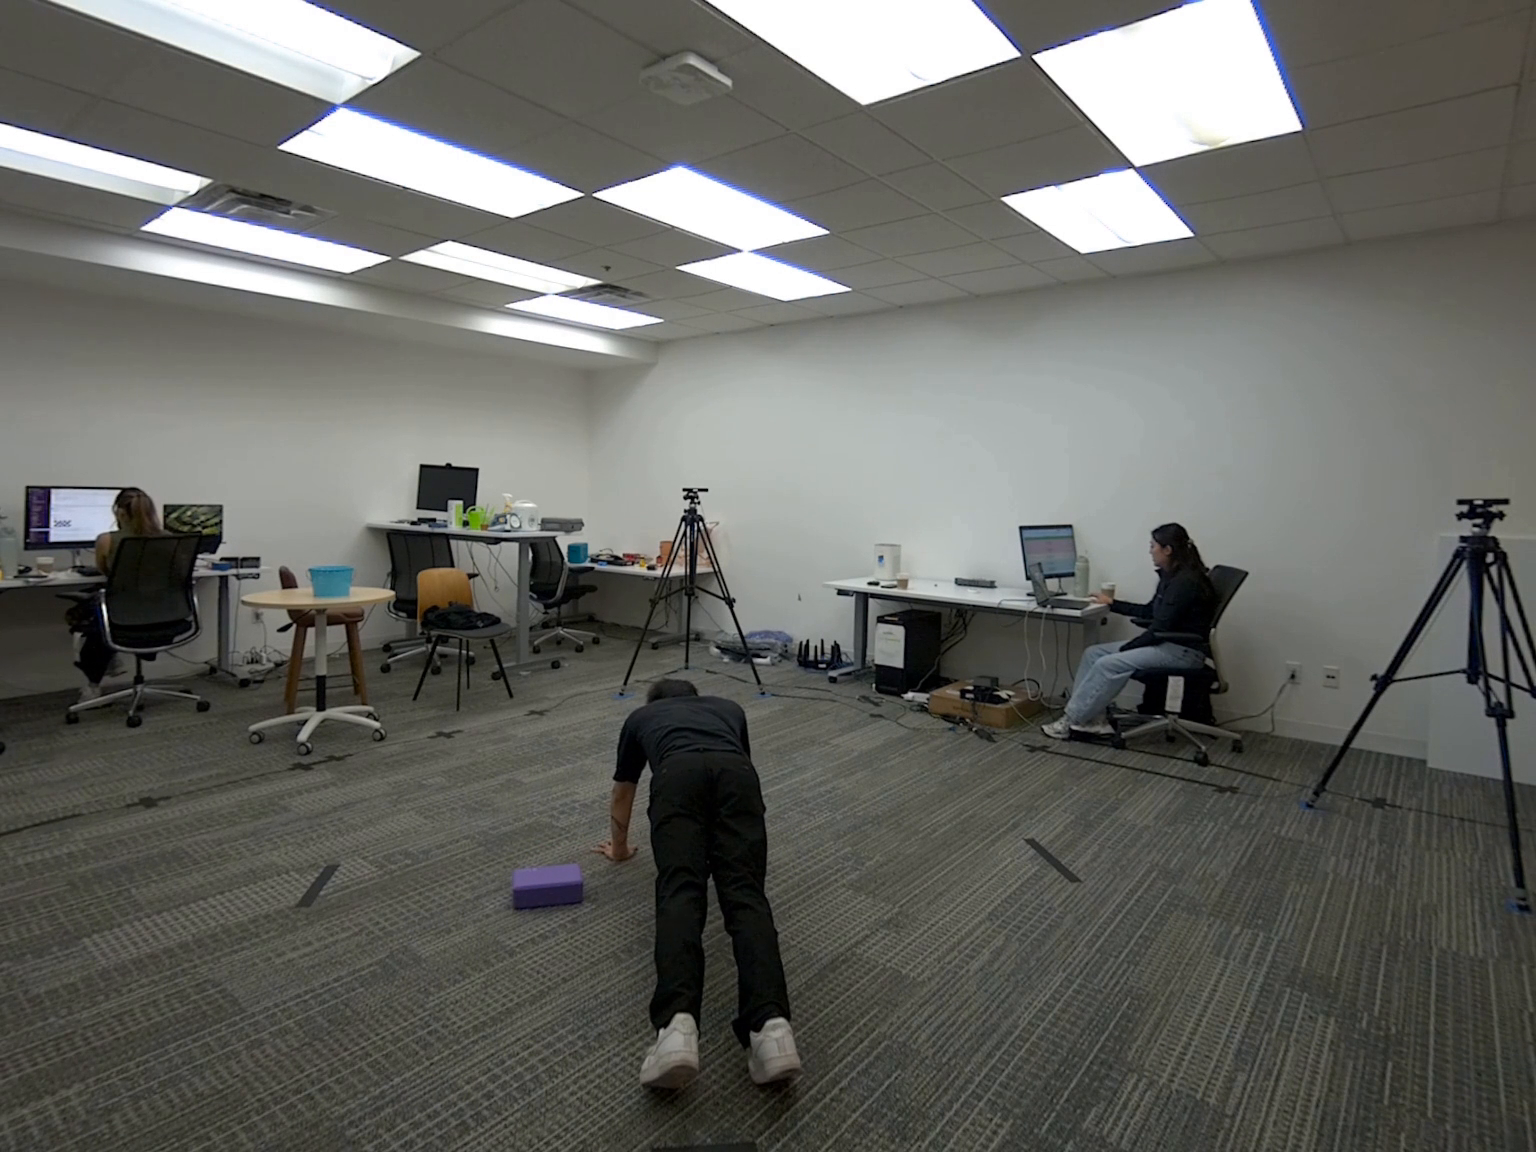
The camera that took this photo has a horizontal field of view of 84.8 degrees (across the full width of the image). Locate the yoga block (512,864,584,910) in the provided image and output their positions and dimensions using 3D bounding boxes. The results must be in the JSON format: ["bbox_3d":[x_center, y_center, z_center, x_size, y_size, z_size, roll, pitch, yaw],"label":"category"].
[{"bbox_3d":[-0.755,1.041,2.875,0.225,0.076,0.152,1,4,-16],"label":"yoga block"}]
